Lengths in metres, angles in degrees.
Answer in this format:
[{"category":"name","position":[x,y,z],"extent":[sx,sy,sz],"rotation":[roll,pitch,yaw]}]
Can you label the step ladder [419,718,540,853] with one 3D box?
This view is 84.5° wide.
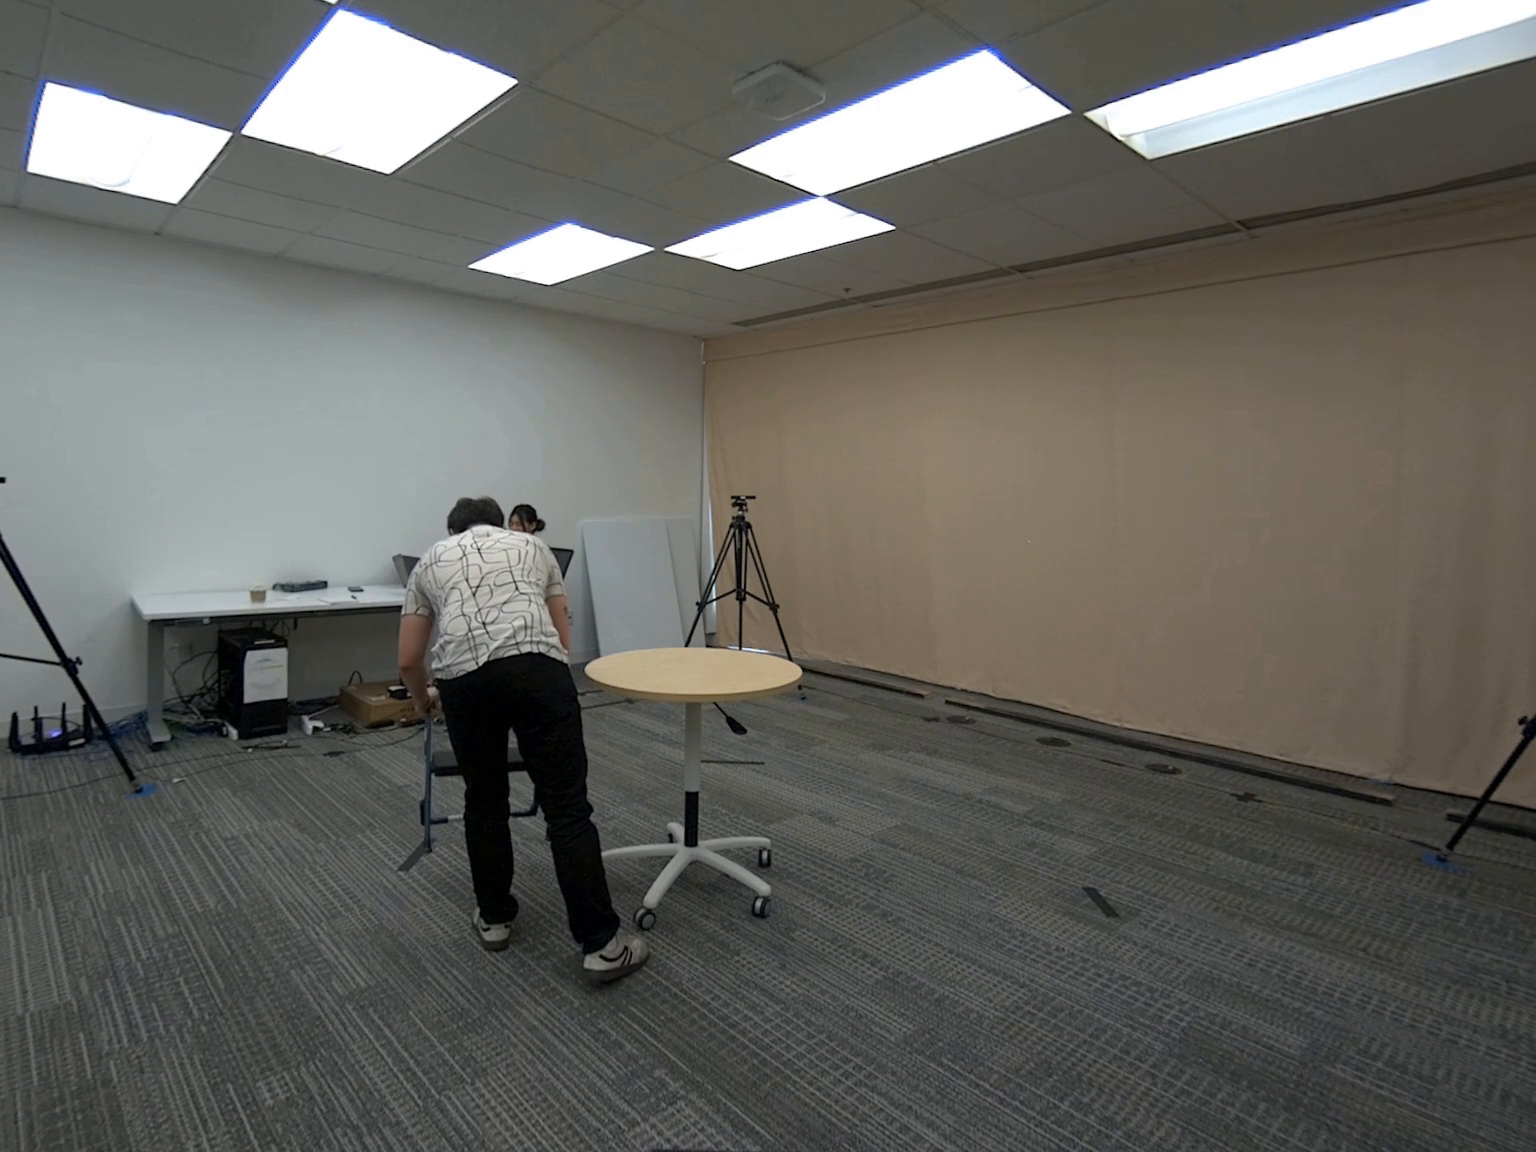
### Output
[{"category":"step ladder","position":[-0.989,0.596,2.948],"extent":[0.423,0.607,0.355],"rotation":[1,-2,-25]}]
